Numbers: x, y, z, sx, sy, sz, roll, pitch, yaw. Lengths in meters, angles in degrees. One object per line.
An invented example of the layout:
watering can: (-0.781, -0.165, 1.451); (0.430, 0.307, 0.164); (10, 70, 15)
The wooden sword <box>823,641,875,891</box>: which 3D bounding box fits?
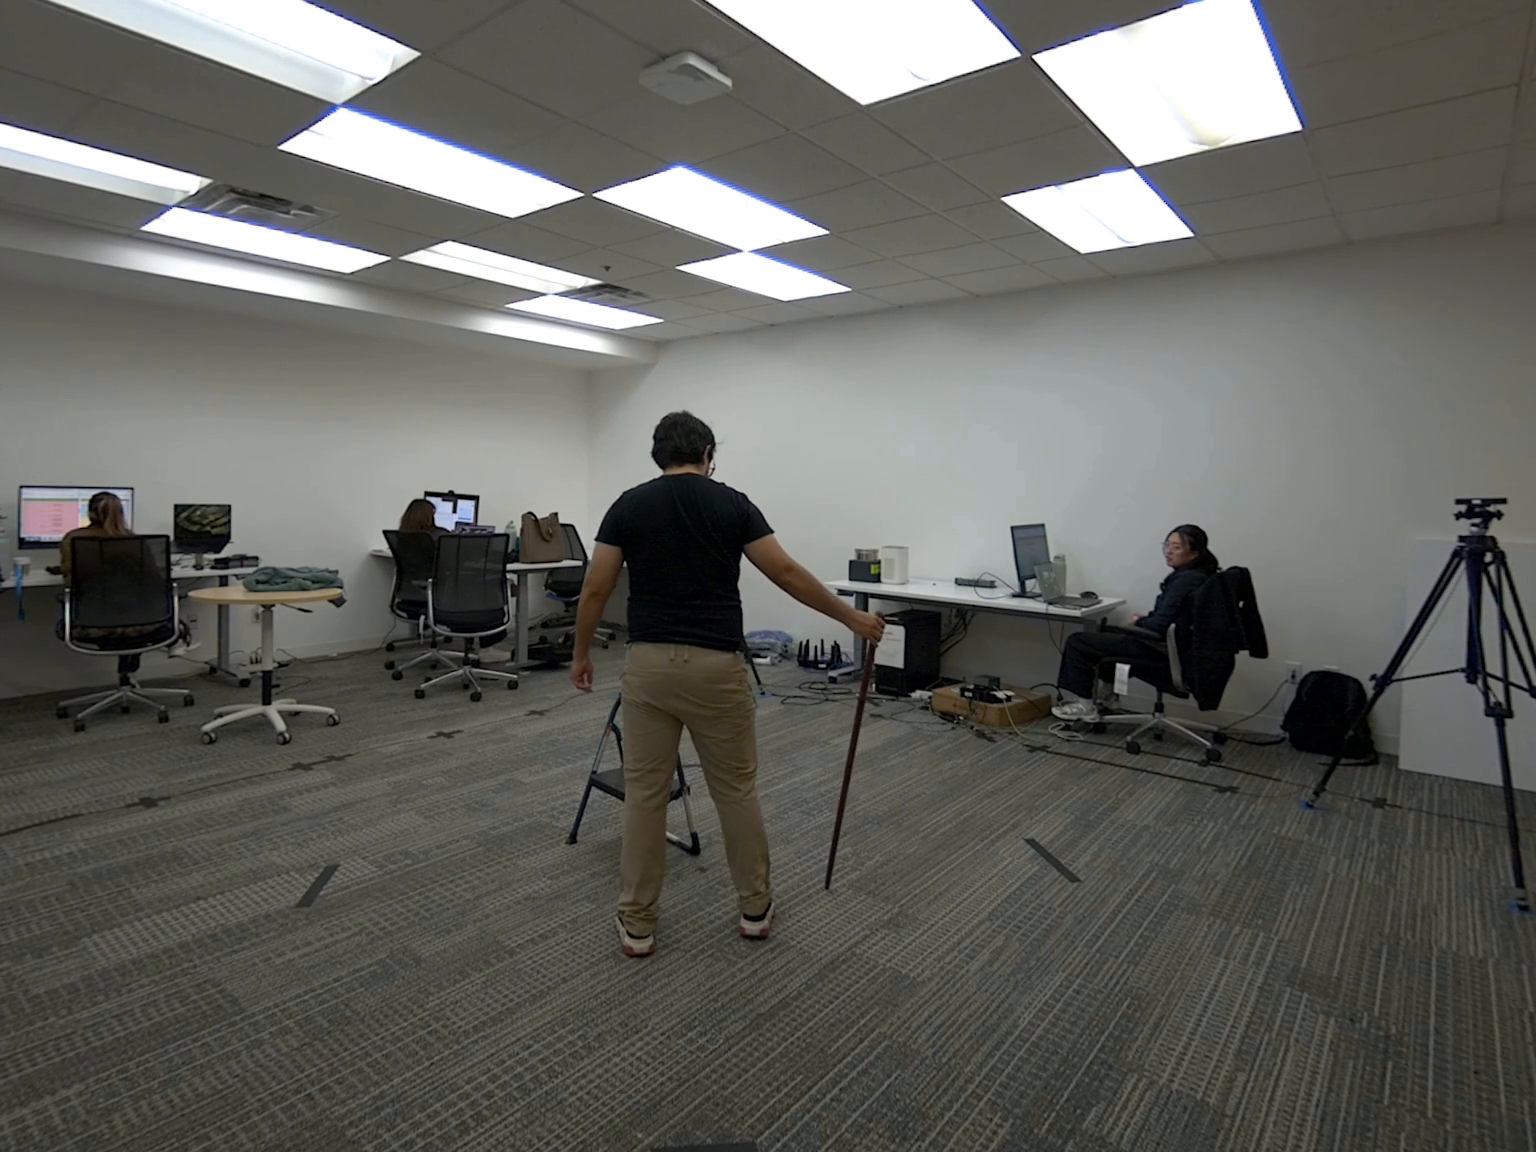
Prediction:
wooden sword: (0.275, 0.617, 2.851); (0.052, 1.014, 0.024); (14, 14, 15)
